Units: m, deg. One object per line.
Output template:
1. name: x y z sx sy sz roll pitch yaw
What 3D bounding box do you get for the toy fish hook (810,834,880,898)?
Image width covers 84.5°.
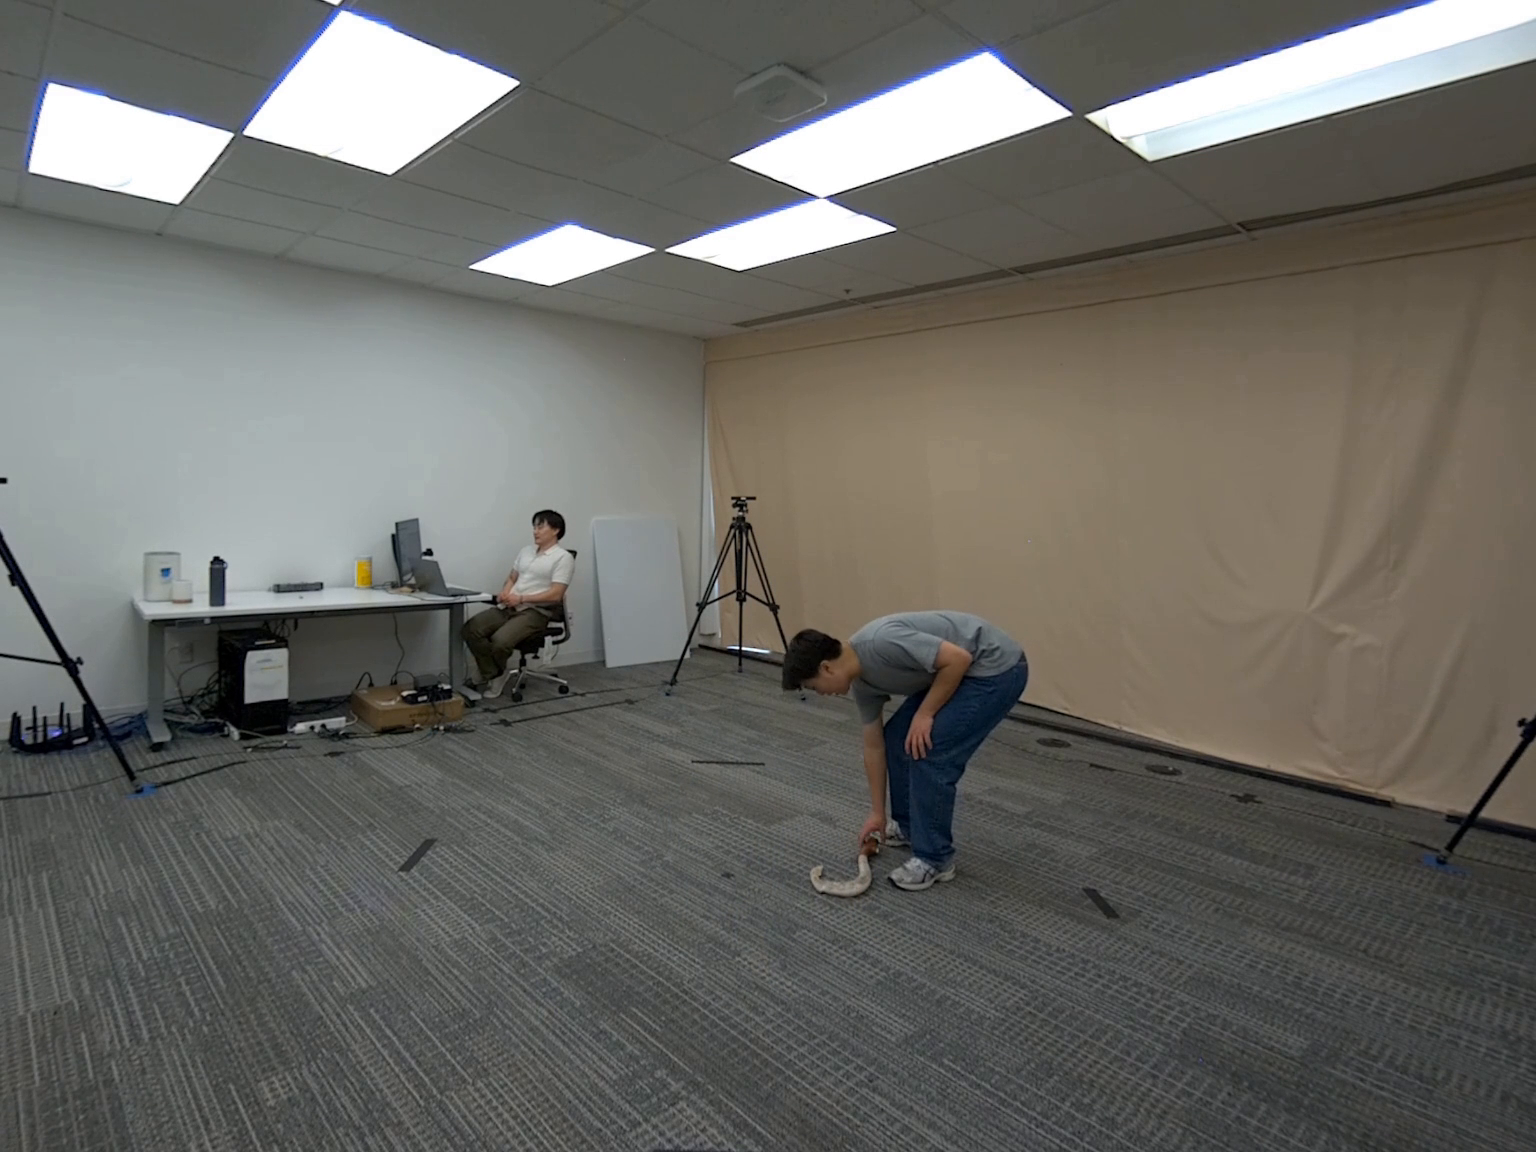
1. toy fish hook: 0.297 1.085 3.184 0.228 0.048 0.500 4 5 18
